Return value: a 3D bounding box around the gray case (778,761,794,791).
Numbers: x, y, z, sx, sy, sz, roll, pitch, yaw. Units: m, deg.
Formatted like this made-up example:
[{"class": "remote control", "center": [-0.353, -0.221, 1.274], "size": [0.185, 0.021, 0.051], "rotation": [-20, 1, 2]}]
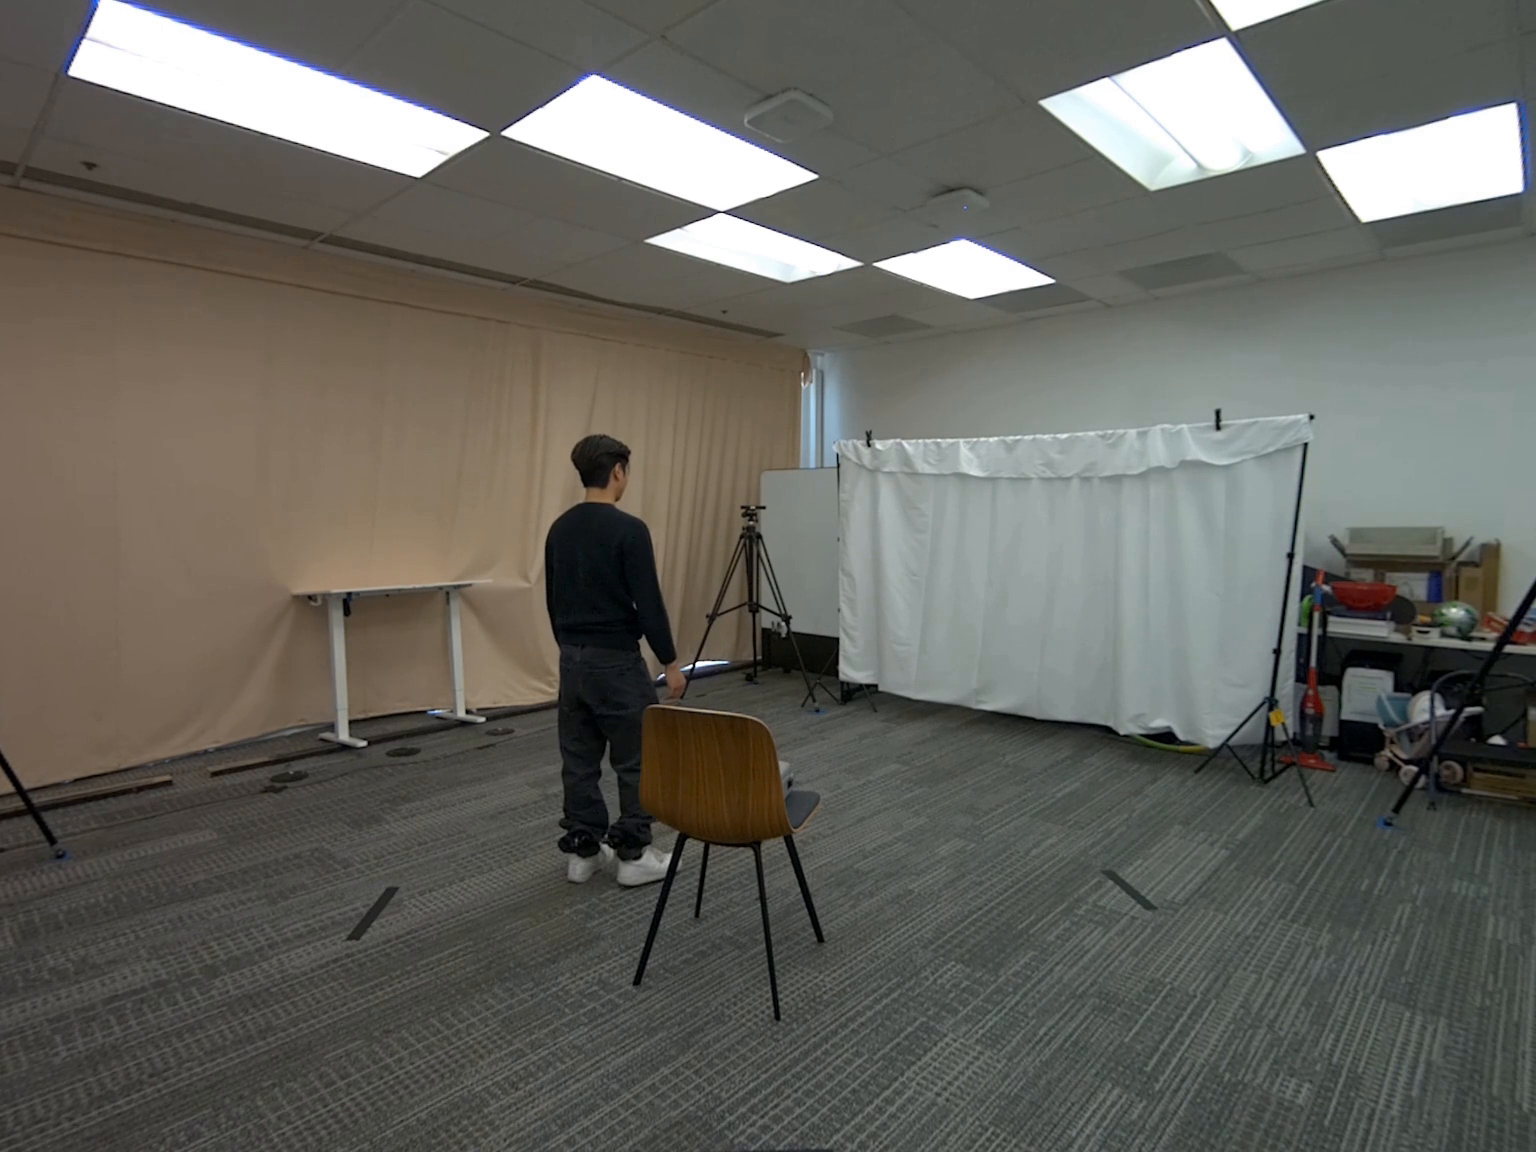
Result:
[{"class": "gray case", "center": [-0.069, 0.642, 2.586], "size": [0.266, 0.104, 0.252], "rotation": [0, 8, 21]}]
